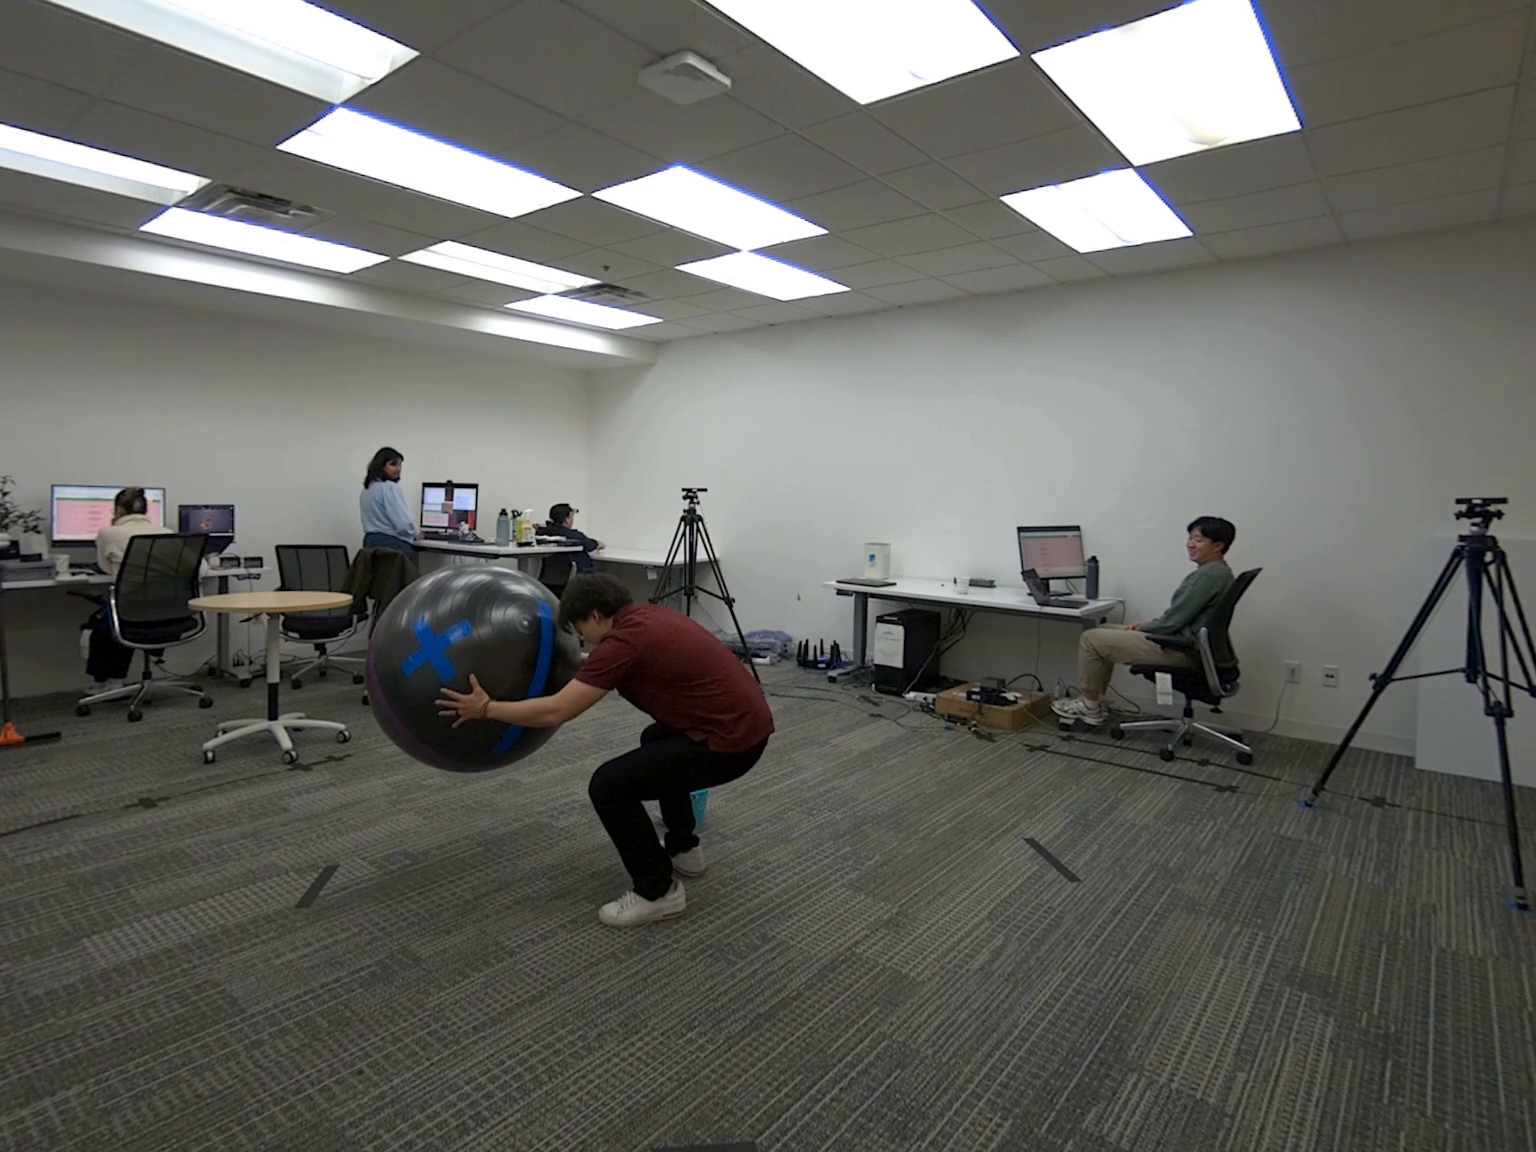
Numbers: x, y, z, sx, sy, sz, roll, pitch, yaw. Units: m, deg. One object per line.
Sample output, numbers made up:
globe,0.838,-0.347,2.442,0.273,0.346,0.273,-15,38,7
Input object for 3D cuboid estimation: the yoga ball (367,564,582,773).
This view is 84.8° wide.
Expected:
yoga ball,-1.089,0.331,3.119,0.757,0.755,0.762,1,4,-2
